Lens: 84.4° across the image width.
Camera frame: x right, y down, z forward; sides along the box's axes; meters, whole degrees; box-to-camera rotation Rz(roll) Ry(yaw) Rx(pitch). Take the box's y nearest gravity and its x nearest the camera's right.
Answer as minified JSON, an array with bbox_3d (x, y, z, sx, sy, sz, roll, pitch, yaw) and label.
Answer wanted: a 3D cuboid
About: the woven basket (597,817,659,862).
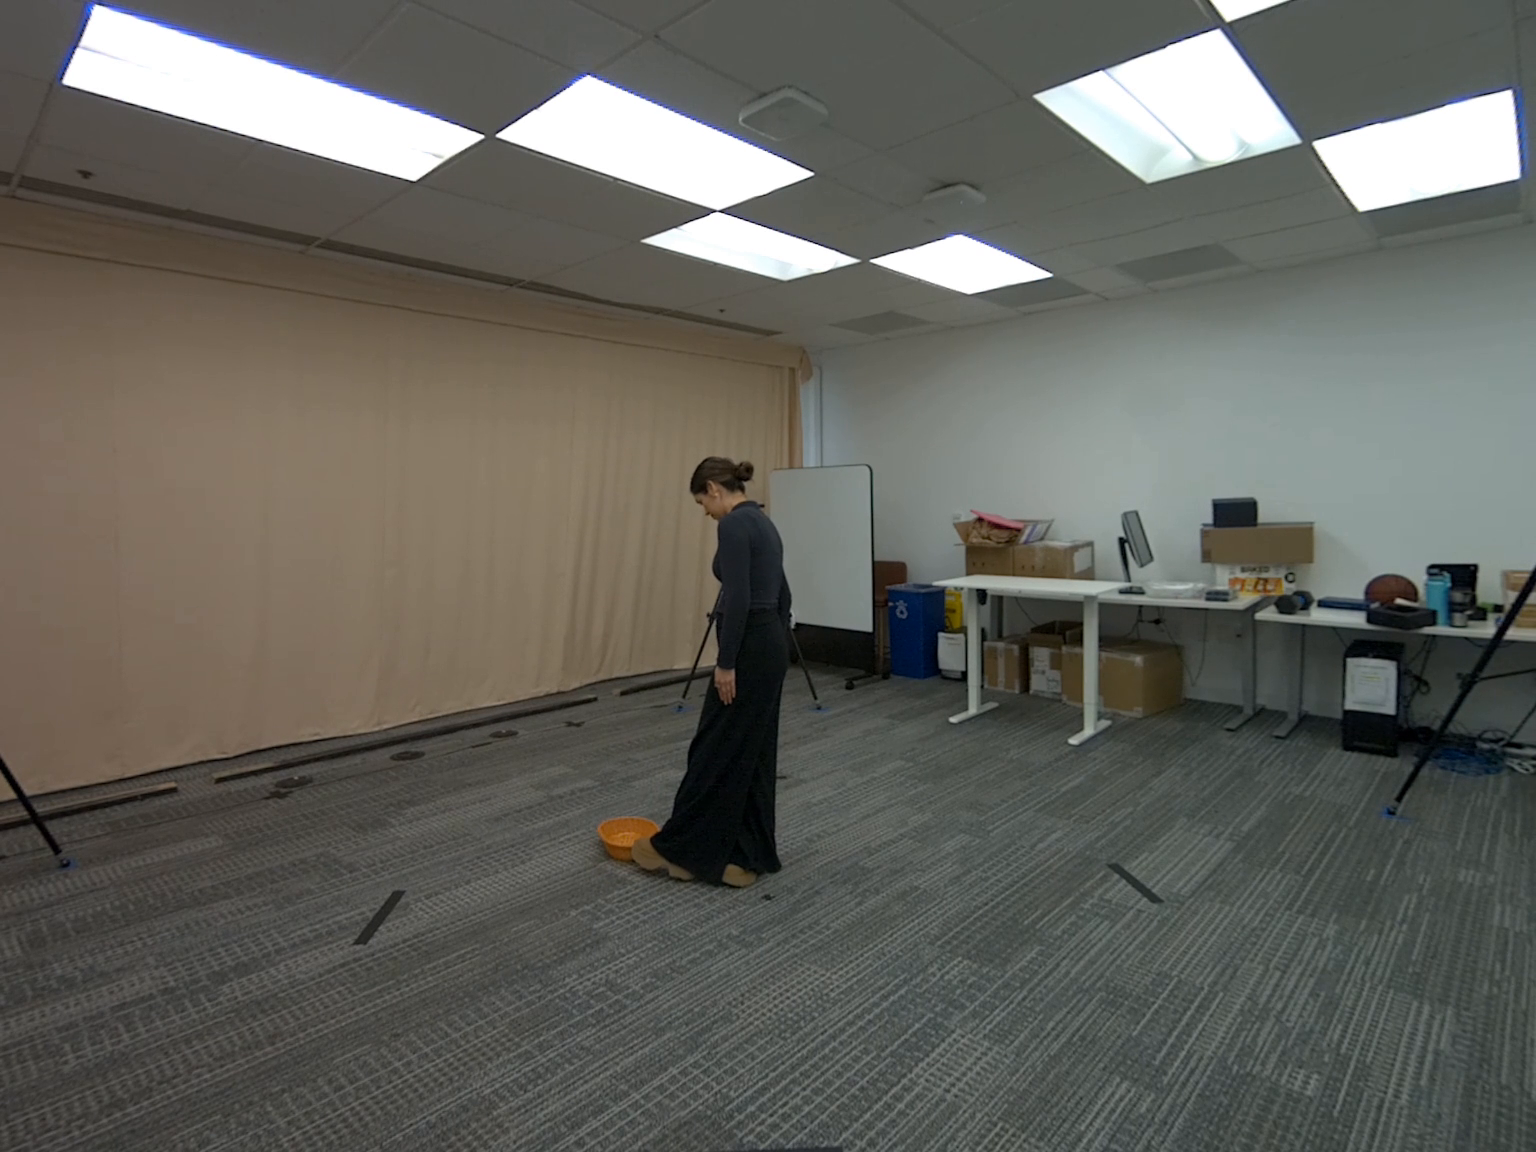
[{"bbox_3d":[-0.566,1.075,3.439,0.247,0.073,0.358,0,3,-20],"label":"woven basket"}]
